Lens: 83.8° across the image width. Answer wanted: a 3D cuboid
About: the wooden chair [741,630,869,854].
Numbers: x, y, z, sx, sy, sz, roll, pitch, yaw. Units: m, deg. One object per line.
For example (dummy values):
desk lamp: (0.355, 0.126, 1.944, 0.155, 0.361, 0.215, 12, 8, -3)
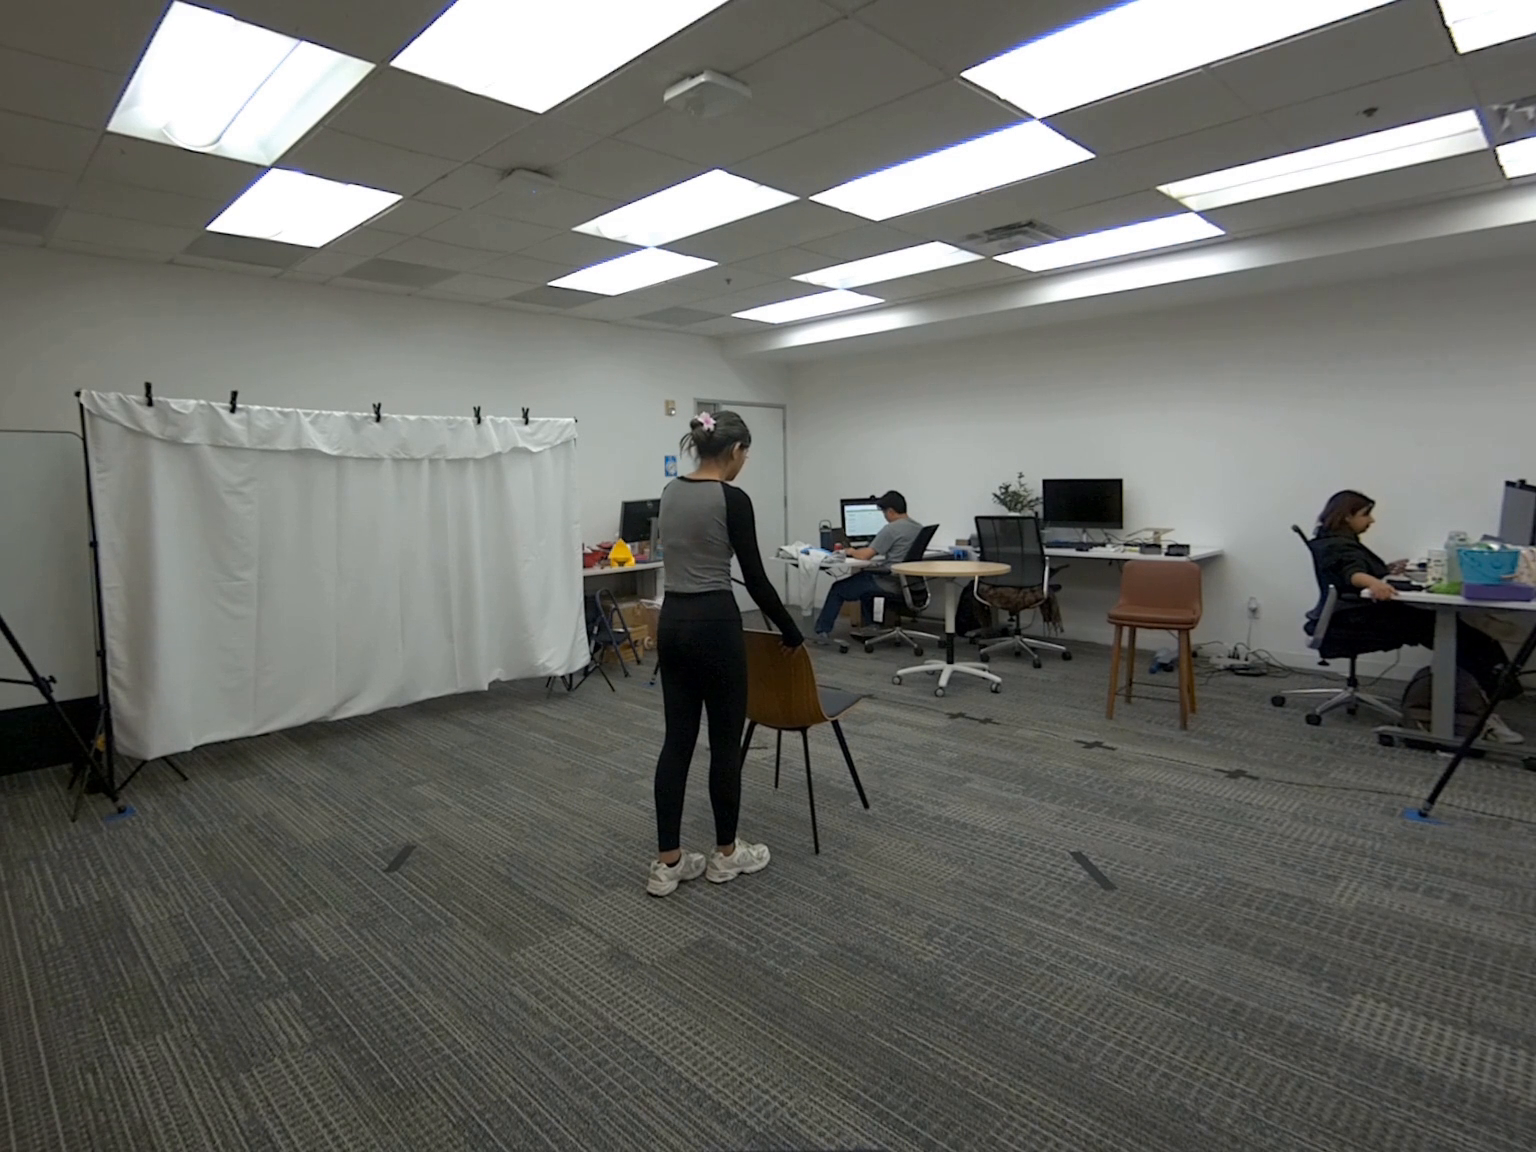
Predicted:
wooden chair: (0.093, 0.563, 3.433, 0.491, 0.868, 0.514, 1, 13, 33)
